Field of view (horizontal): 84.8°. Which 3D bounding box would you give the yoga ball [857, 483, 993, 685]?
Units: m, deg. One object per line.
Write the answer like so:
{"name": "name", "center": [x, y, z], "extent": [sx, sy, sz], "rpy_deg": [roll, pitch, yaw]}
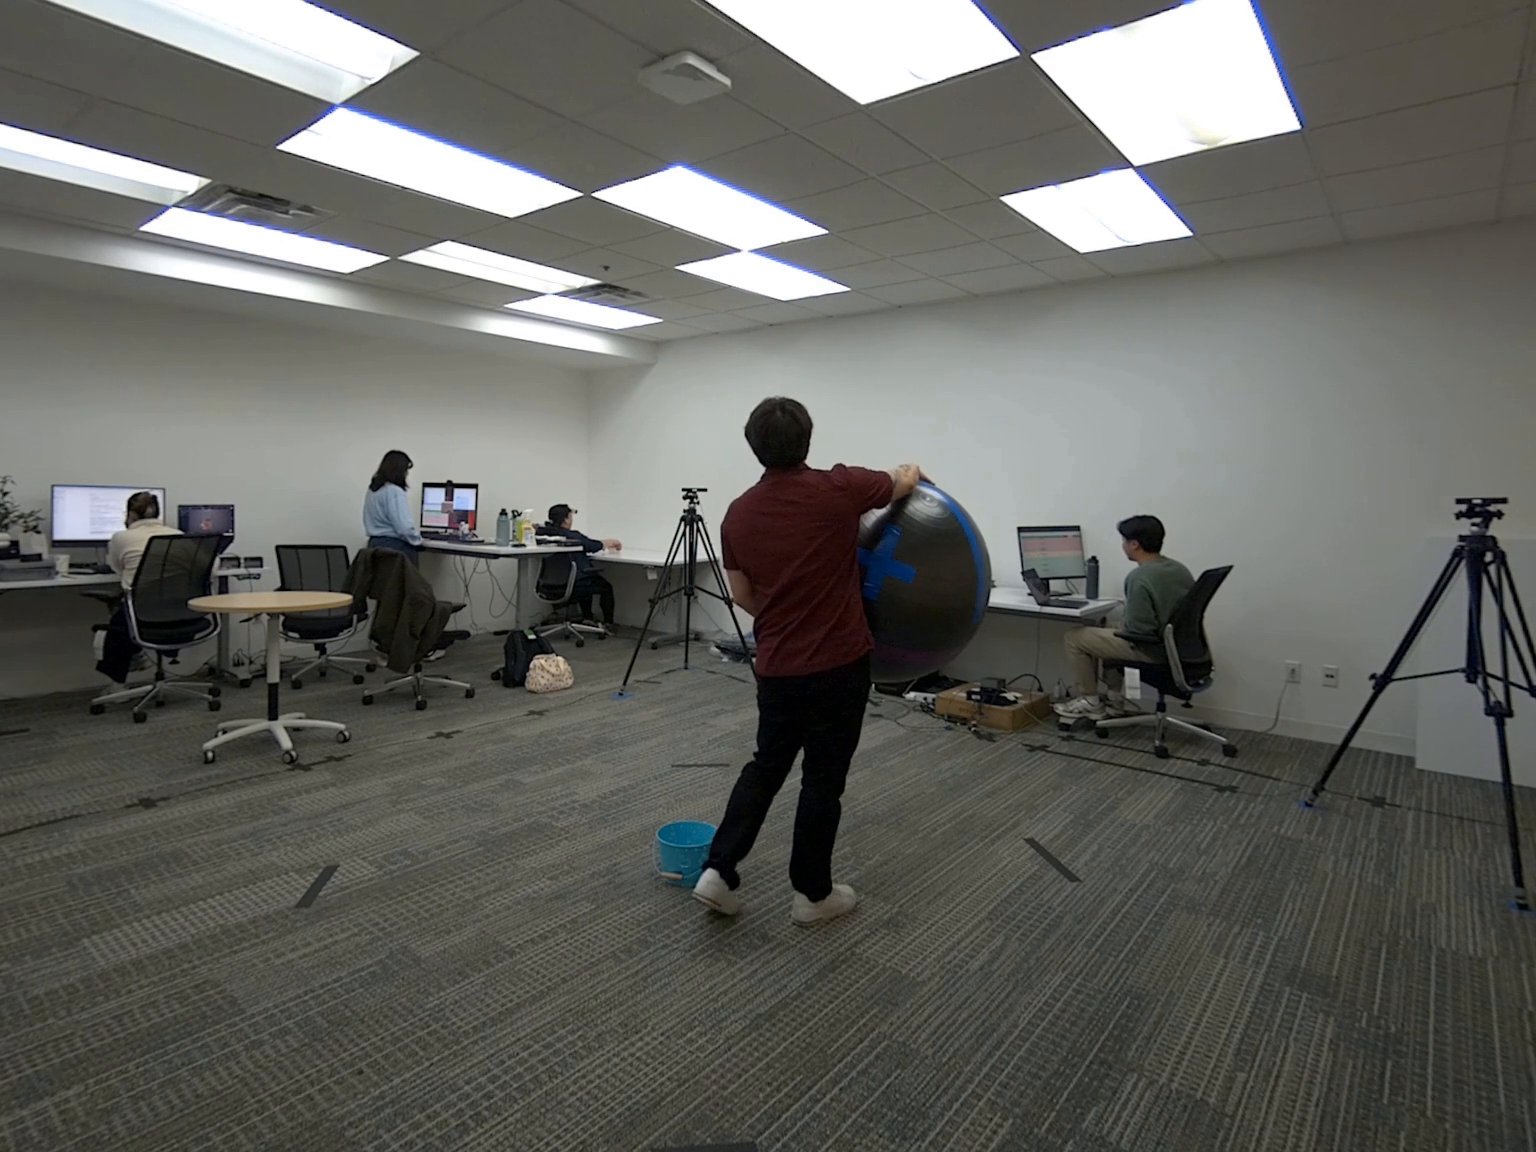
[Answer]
{"name": "yoga ball", "center": [0.428, 0.003, 3.125], "extent": [0.757, 0.756, 0.761], "rpy_deg": [1, 4, -2]}
